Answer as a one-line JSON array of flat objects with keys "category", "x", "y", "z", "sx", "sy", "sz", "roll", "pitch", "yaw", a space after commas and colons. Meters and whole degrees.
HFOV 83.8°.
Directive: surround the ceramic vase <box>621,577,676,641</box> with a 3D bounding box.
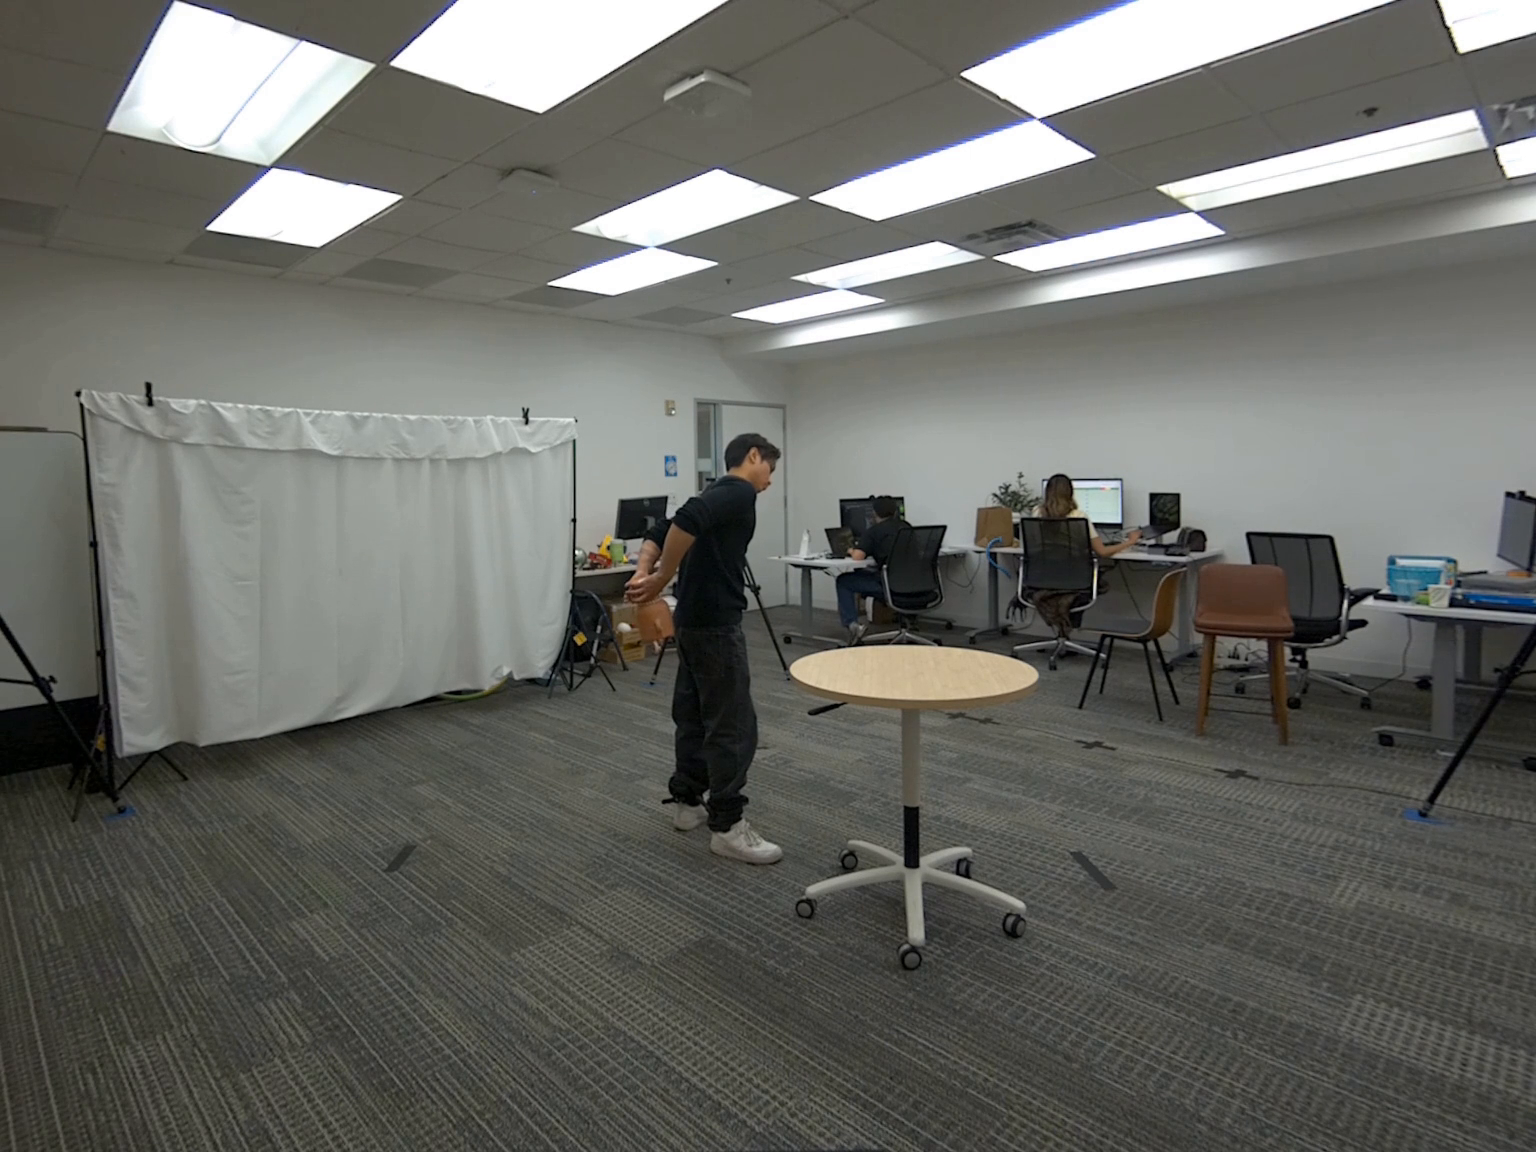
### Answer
[{"category": "ceramic vase", "x": -0.422, "y": 0.107, "z": 3.188, "sx": 0.163, "sy": 0.217, "sz": 0.132, "roll": -2, "pitch": 14, "yaw": 37}]
